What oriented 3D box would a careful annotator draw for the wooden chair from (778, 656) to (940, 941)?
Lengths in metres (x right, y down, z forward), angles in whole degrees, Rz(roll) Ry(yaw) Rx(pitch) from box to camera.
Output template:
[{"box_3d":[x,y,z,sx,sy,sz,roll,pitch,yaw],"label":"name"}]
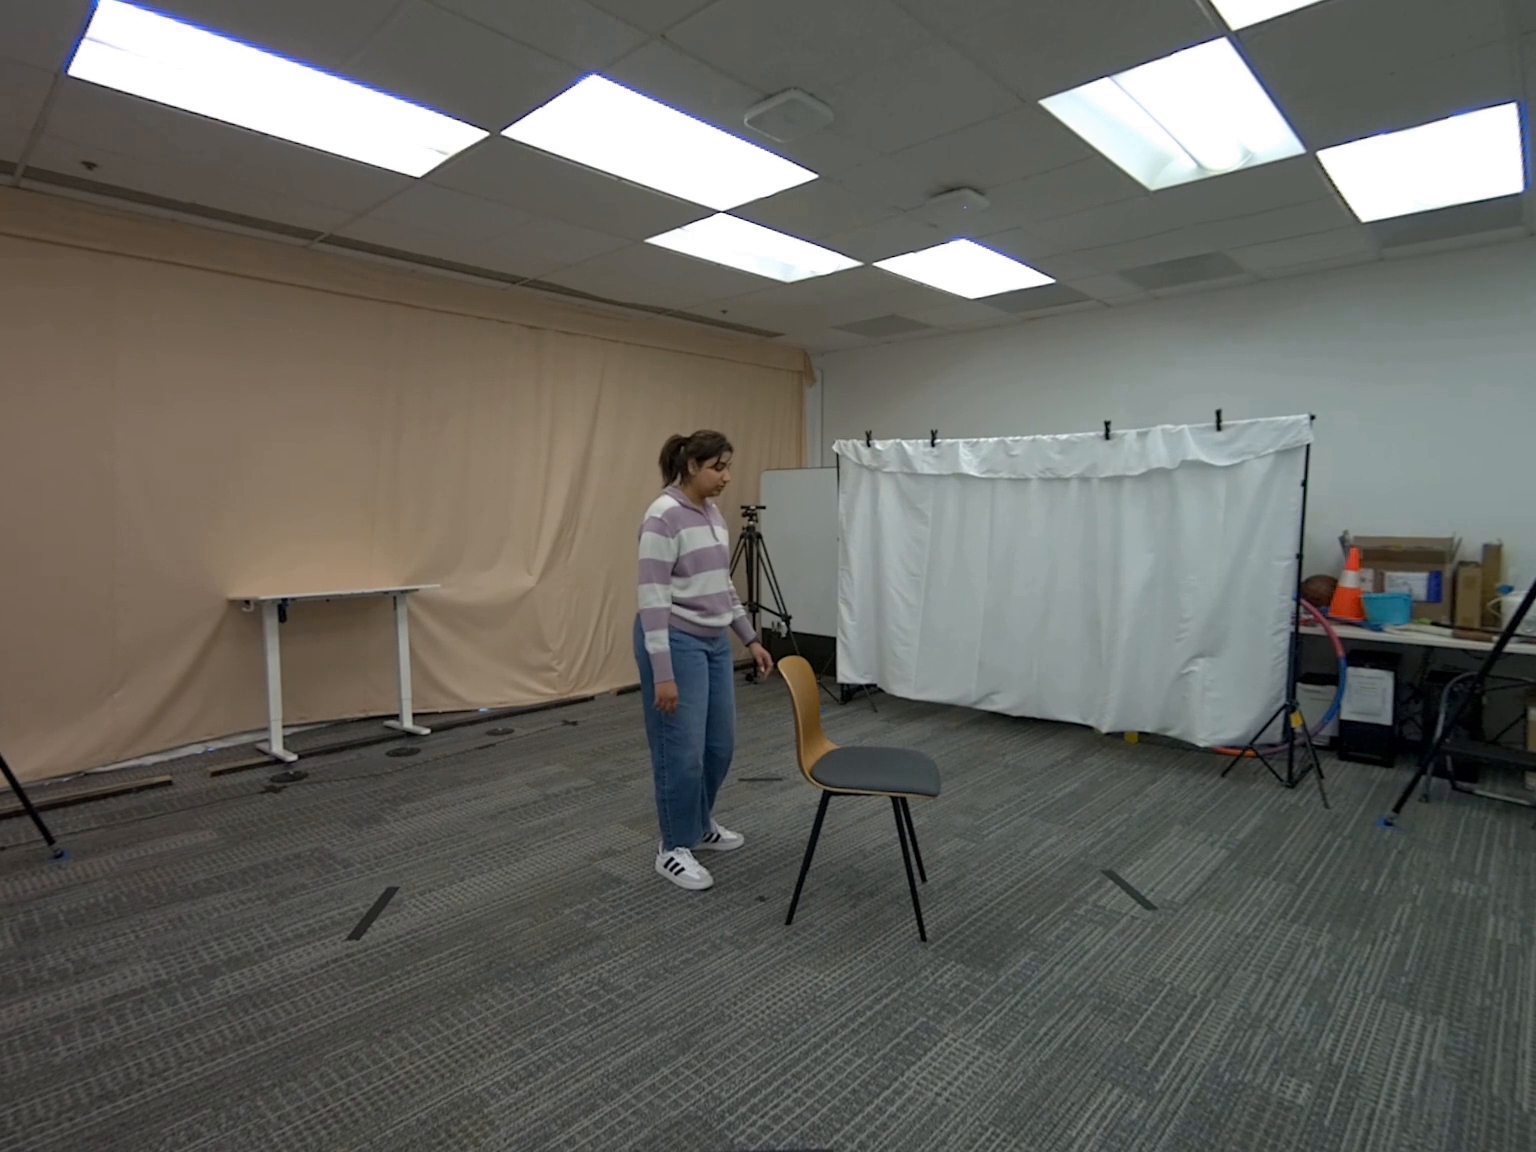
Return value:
[{"box_3d":[0.332,0.721,2.918,0.531,0.876,0.472,-3,2,13],"label":"wooden chair"}]
